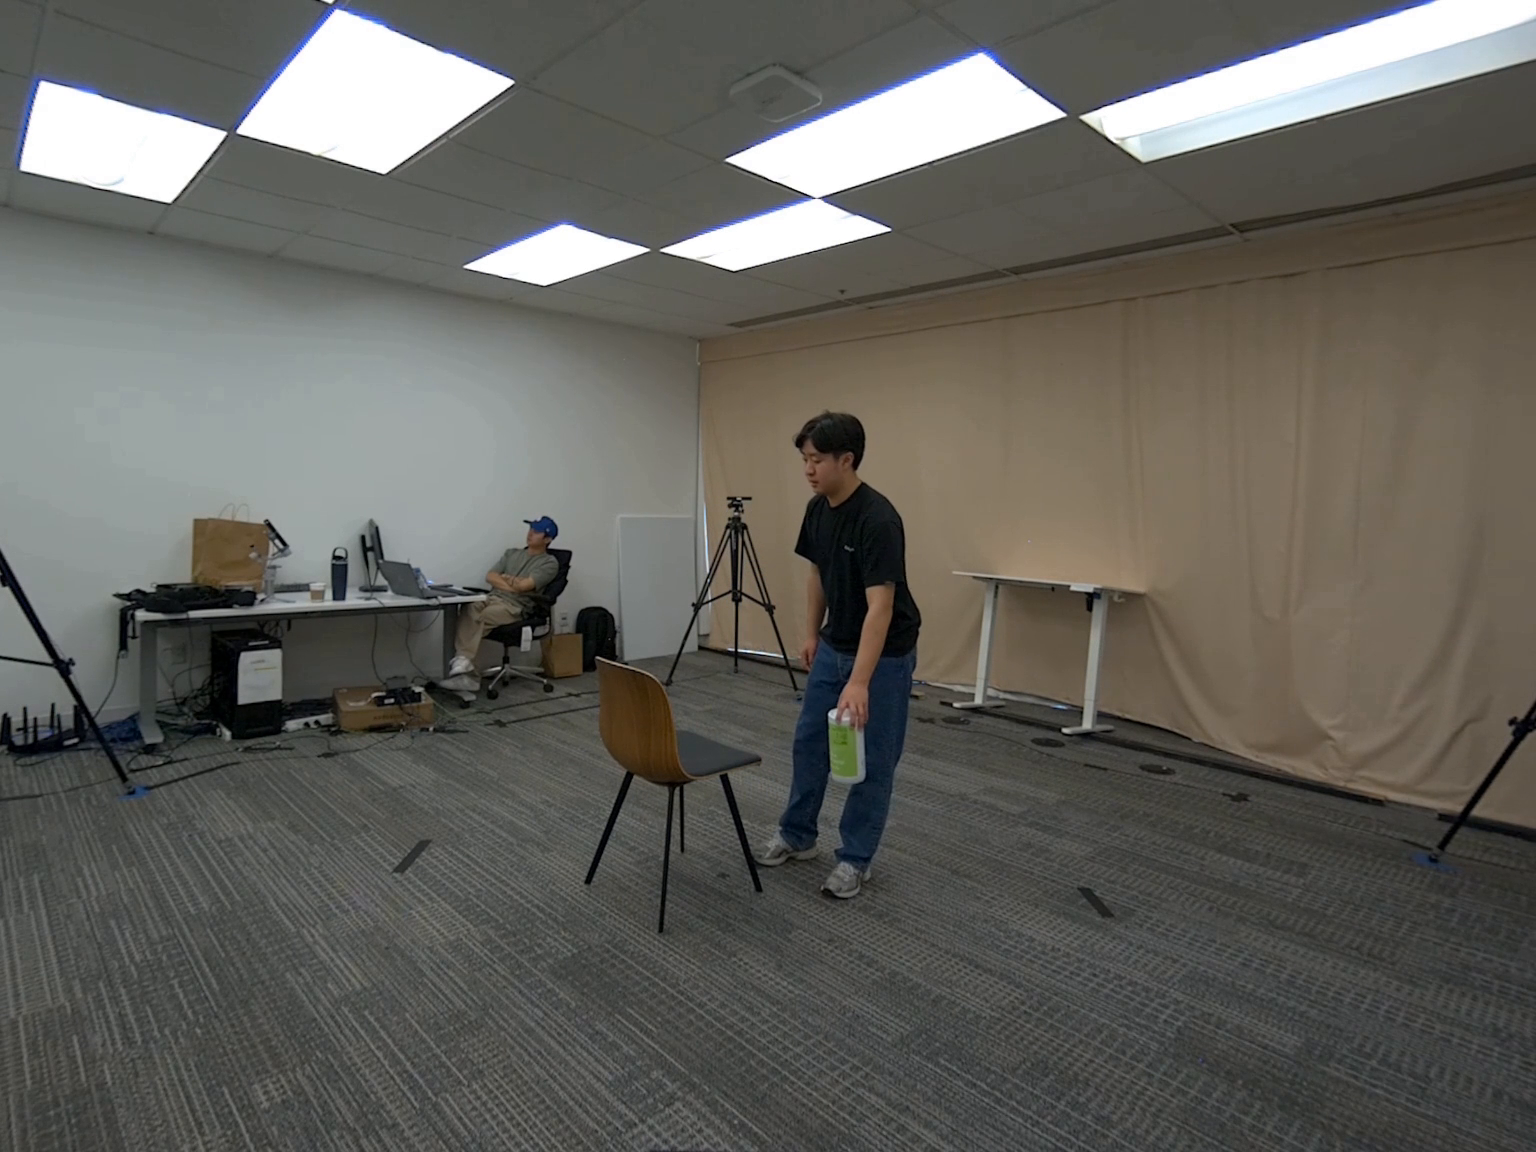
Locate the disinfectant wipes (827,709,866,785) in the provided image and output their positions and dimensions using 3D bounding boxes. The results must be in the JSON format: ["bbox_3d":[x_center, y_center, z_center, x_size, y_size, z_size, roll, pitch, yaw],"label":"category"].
[{"bbox_3d":[0.236,0.532,2.650,0.118,0.216,0.118,-2,6,-1],"label":"disinfectant wipes"}]
